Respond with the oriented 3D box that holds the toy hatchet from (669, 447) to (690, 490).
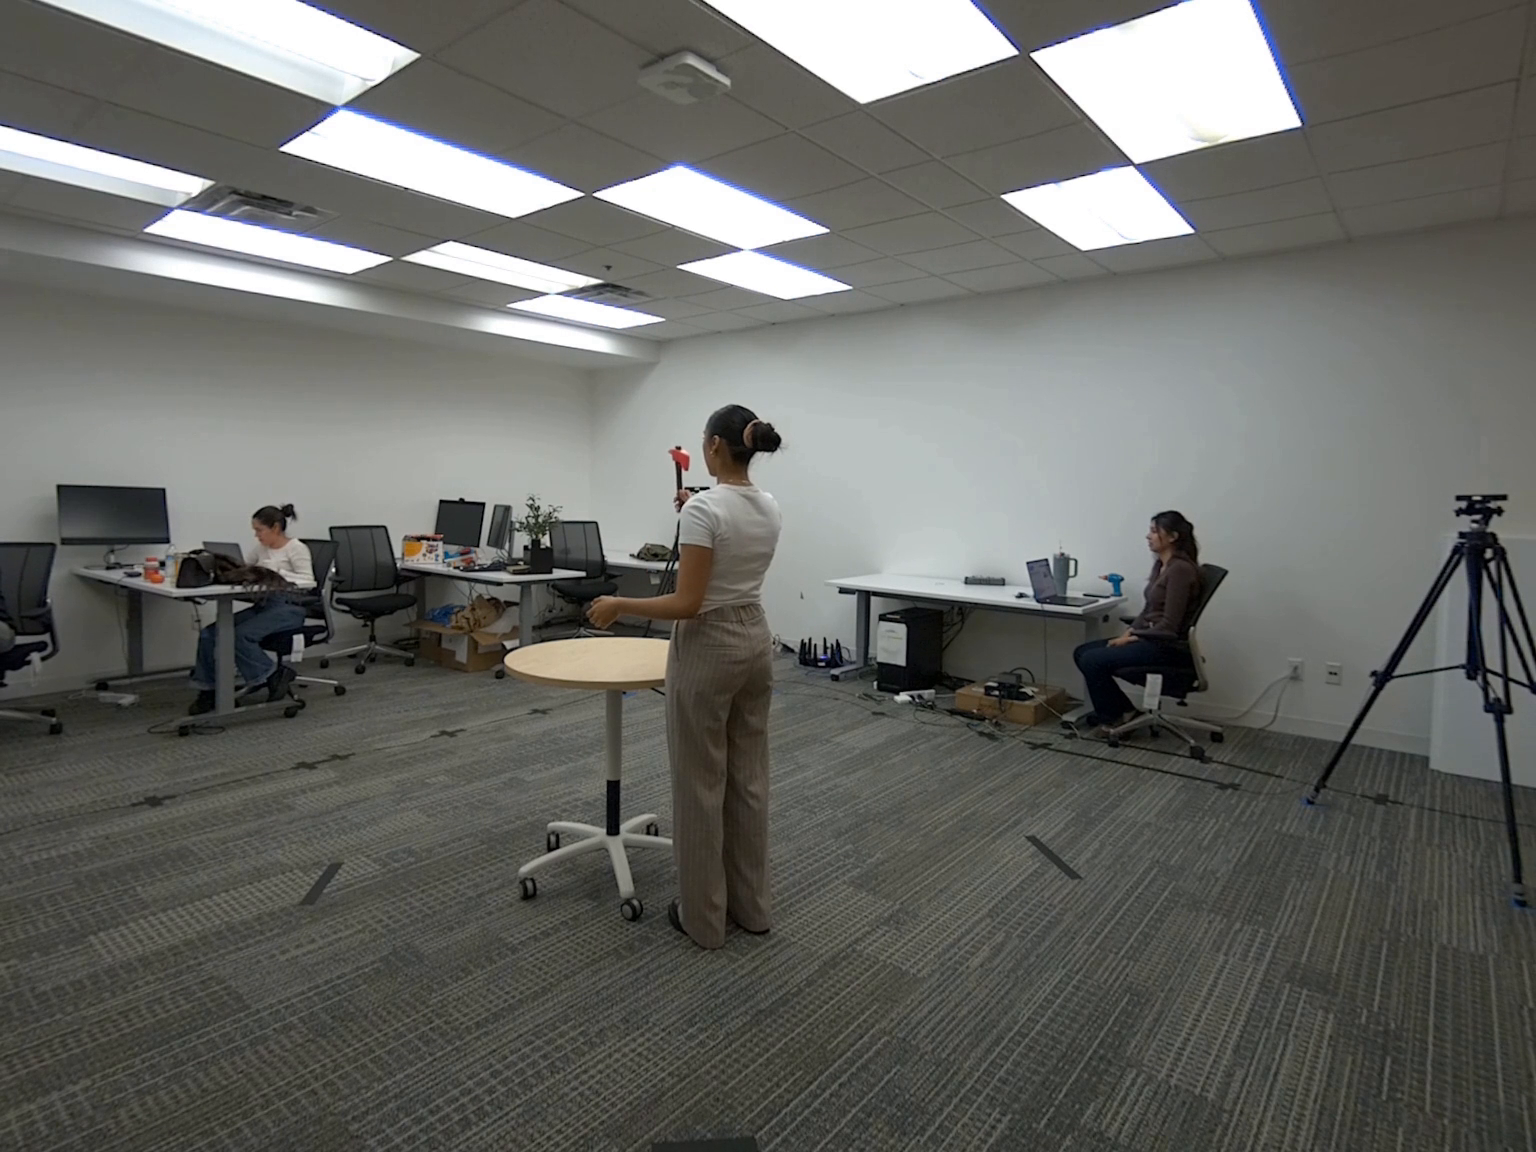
[{"bbox_3d":[-0.305,-0.332,3.001,0.029,0.270,0.134,-10,1,-37],"label":"toy hatchet"}]
